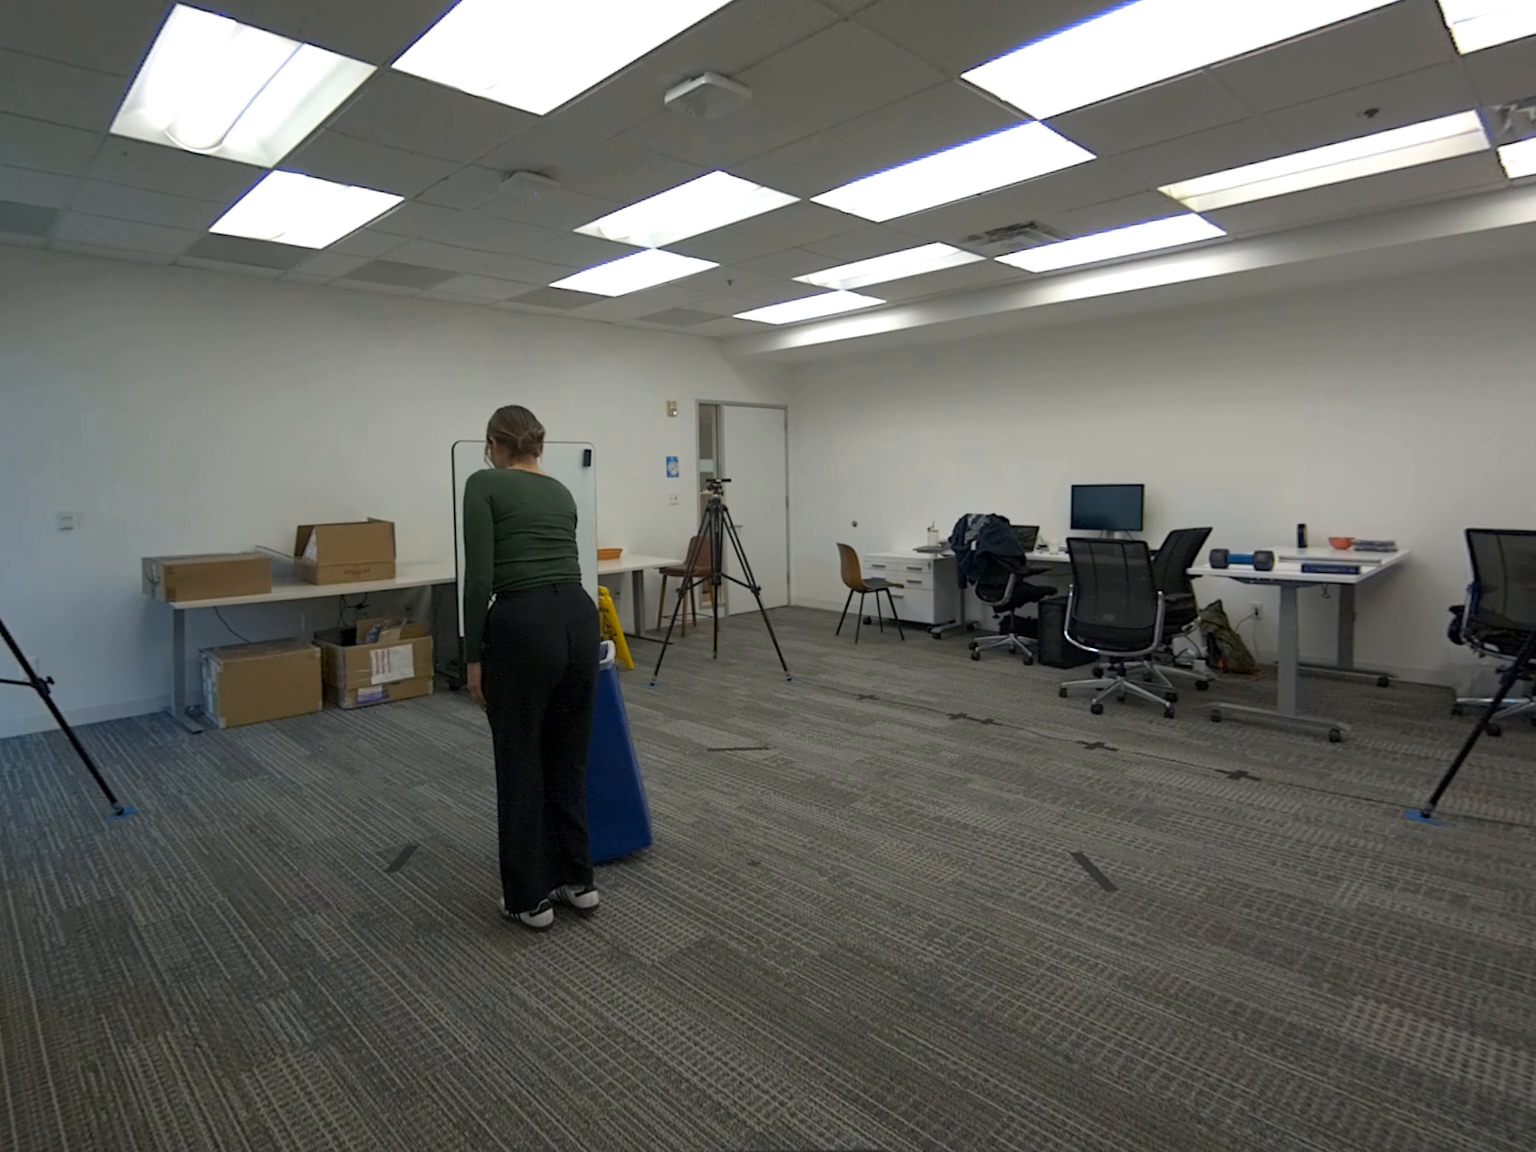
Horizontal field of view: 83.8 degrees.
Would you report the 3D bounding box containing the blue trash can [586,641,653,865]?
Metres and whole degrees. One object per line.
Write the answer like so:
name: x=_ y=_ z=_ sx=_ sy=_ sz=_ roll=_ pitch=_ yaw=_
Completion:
blue trash can: x=-0.673 y=0.665 z=3.221 sx=0.372 sy=0.710 sz=0.383 roll=-15 pitch=5 yaw=-9
